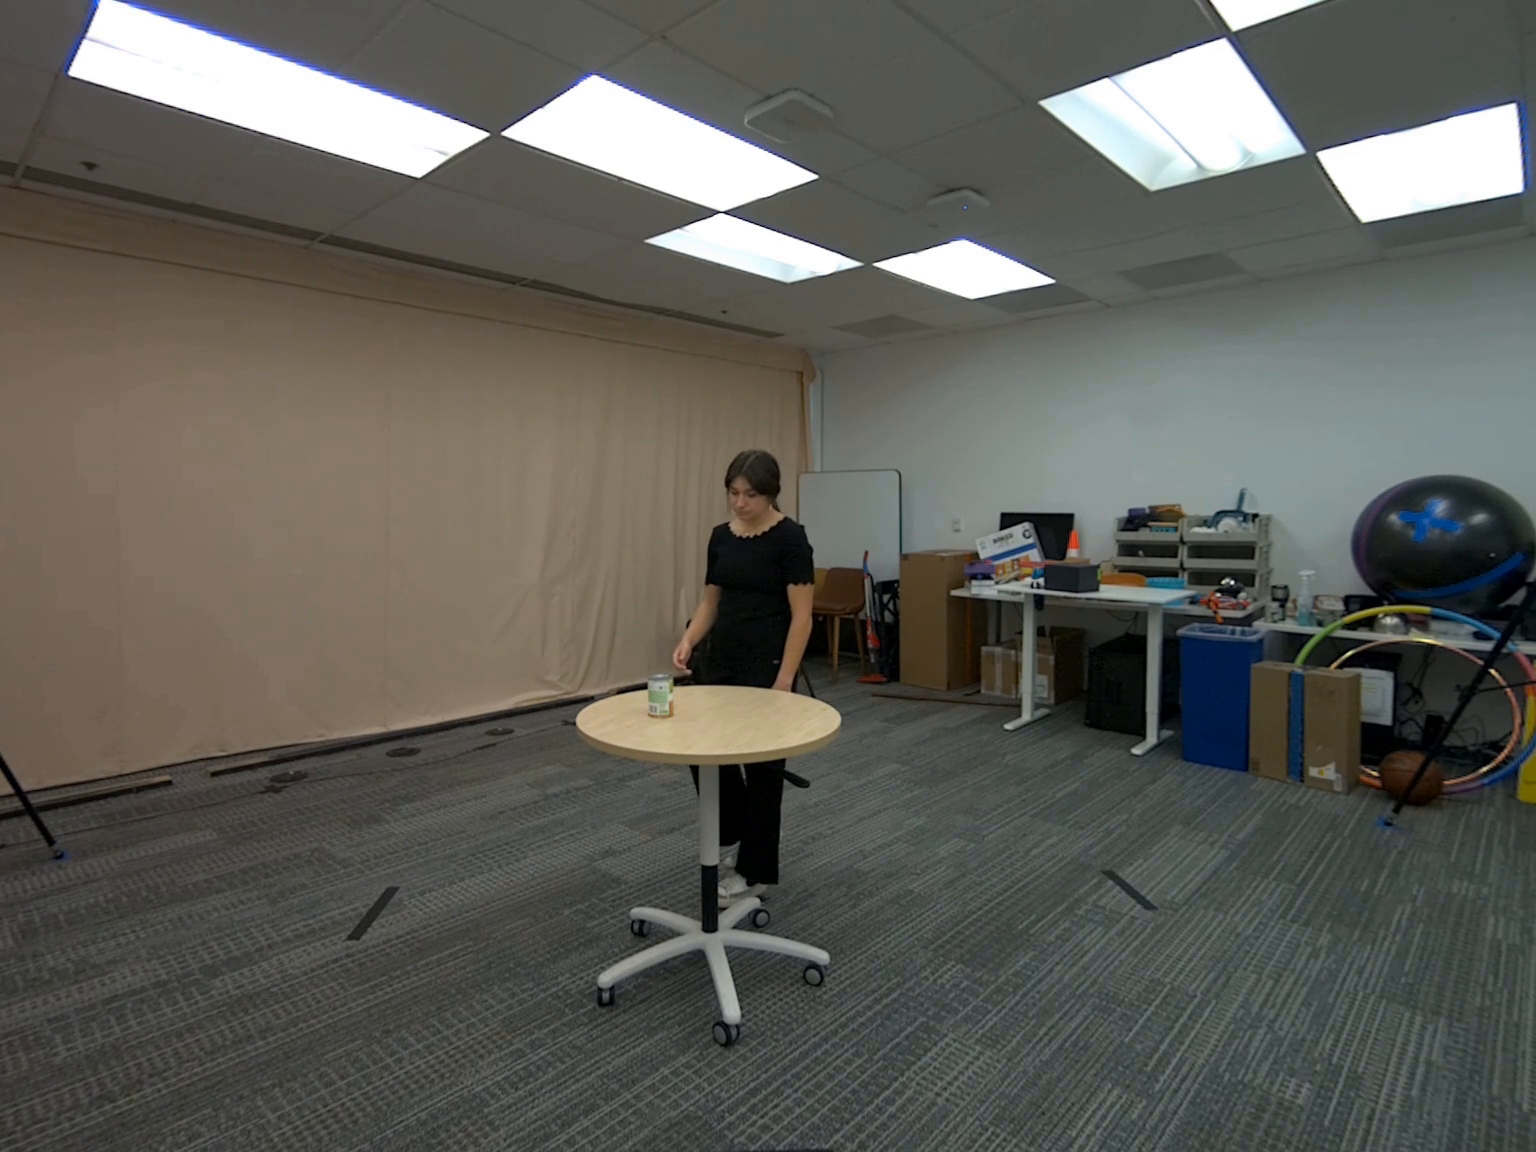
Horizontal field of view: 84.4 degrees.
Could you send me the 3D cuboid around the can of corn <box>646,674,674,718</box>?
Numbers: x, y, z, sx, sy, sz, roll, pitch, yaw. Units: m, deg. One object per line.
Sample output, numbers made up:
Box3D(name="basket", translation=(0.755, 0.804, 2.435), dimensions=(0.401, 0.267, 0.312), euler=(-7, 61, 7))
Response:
Box3D(name="can of corn", translation=(-0.318, 0.351, 2.450), dimensions=(0.074, 0.111, 0.074), euler=(-2, 4, -2))
